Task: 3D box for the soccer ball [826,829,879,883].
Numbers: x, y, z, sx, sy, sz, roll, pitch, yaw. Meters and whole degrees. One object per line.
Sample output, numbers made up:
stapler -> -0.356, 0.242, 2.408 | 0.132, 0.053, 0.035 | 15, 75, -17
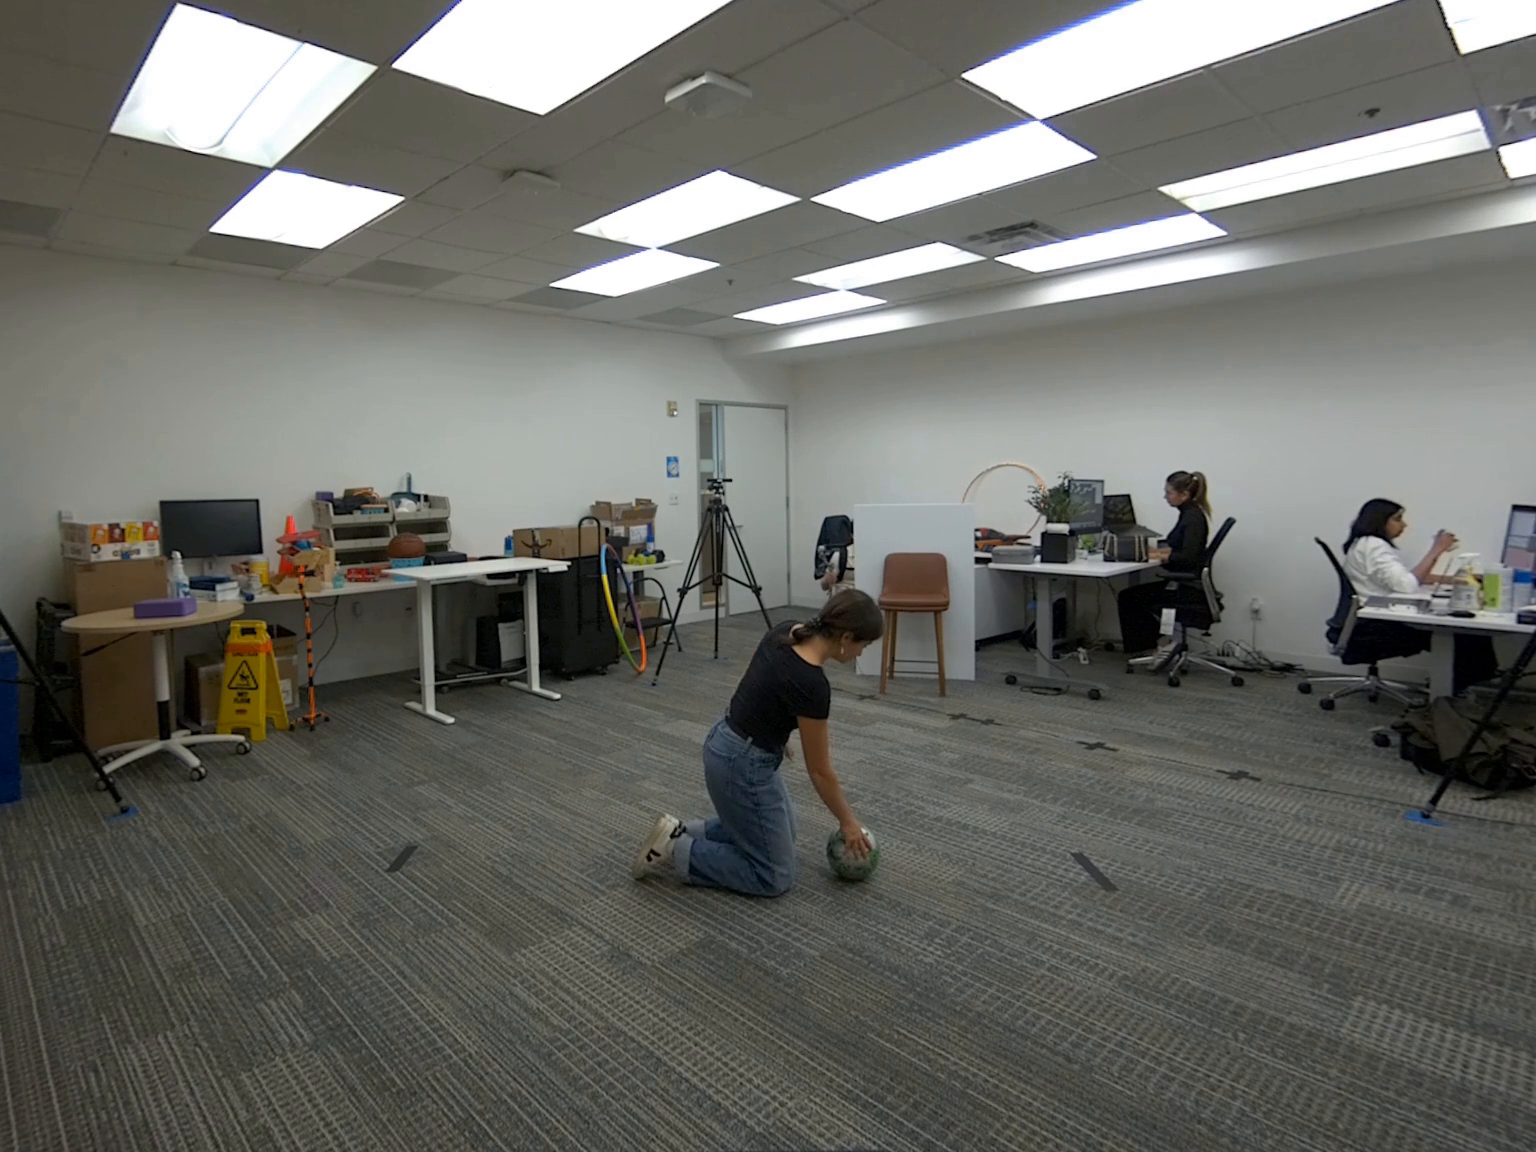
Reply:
soccer ball -> 0.293, 0.954, 2.983 | 0.187, 0.187, 0.188 | -1, 5, -2
